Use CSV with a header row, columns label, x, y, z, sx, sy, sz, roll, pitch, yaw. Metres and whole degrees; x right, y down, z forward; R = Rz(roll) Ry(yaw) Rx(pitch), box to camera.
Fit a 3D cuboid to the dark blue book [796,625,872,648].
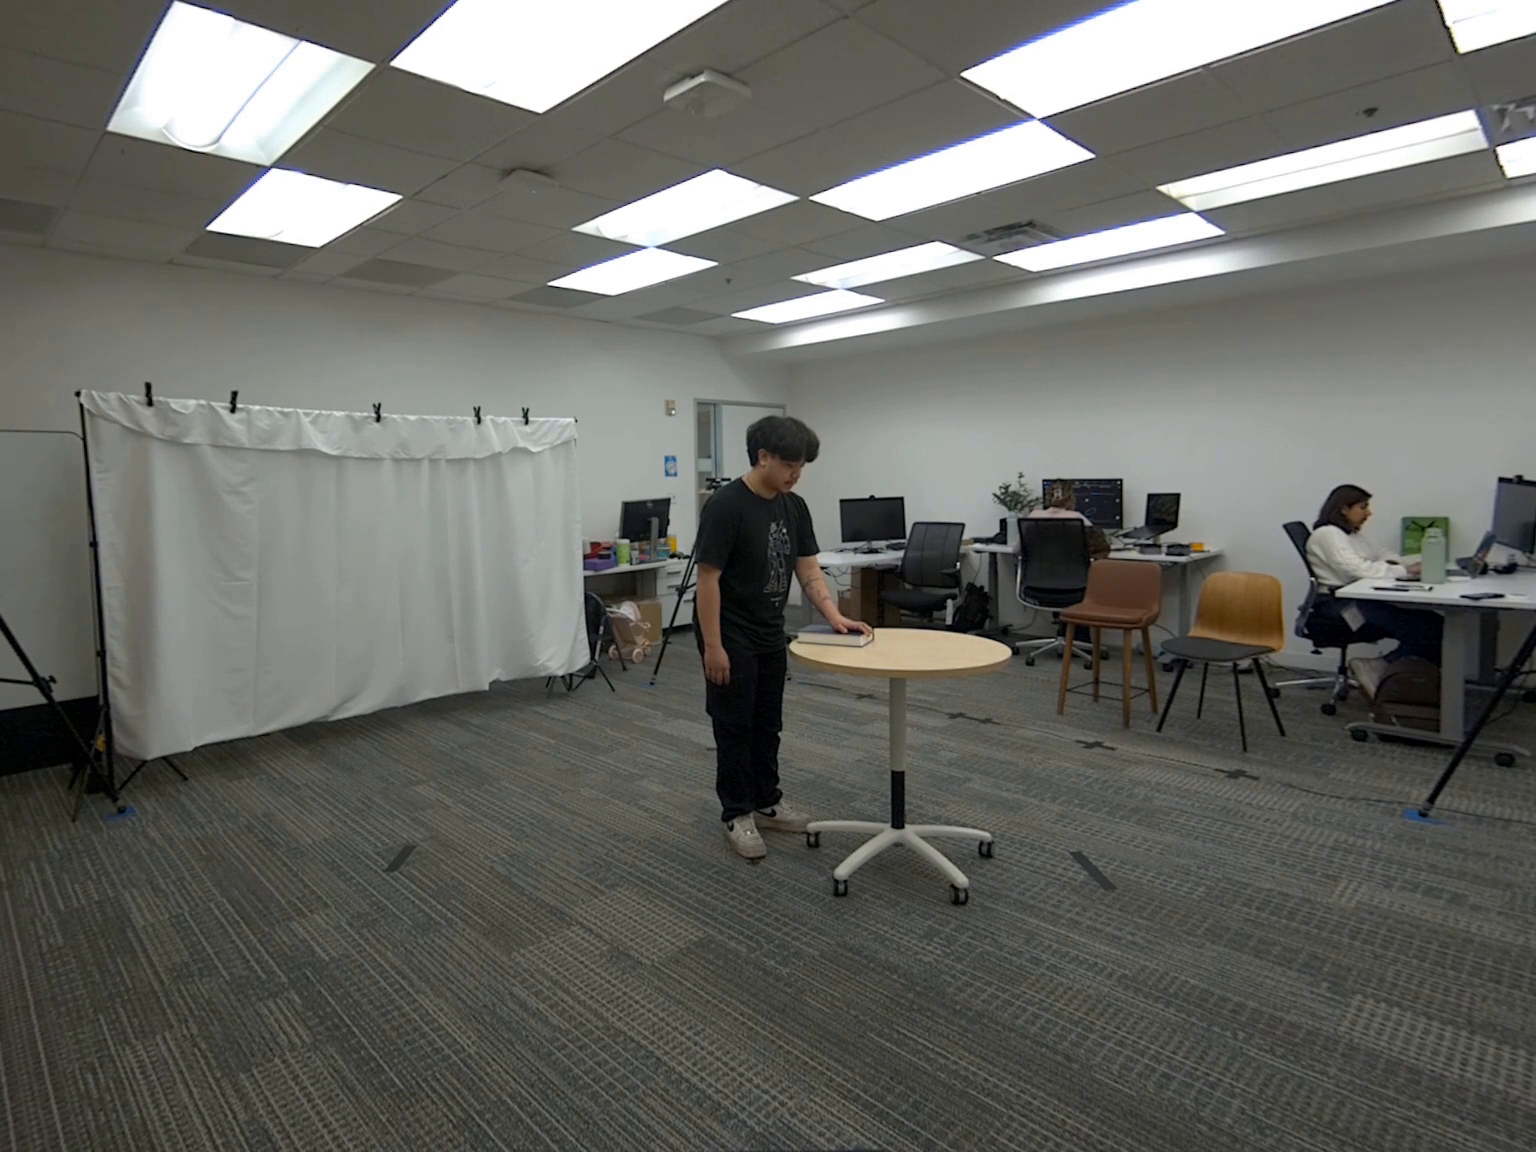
label,x,y,z,sx,sy,sz,roll,pitch,yaw
dark blue book,0.252,0.219,3.127,0.251,0.045,0.160,3,6,24
